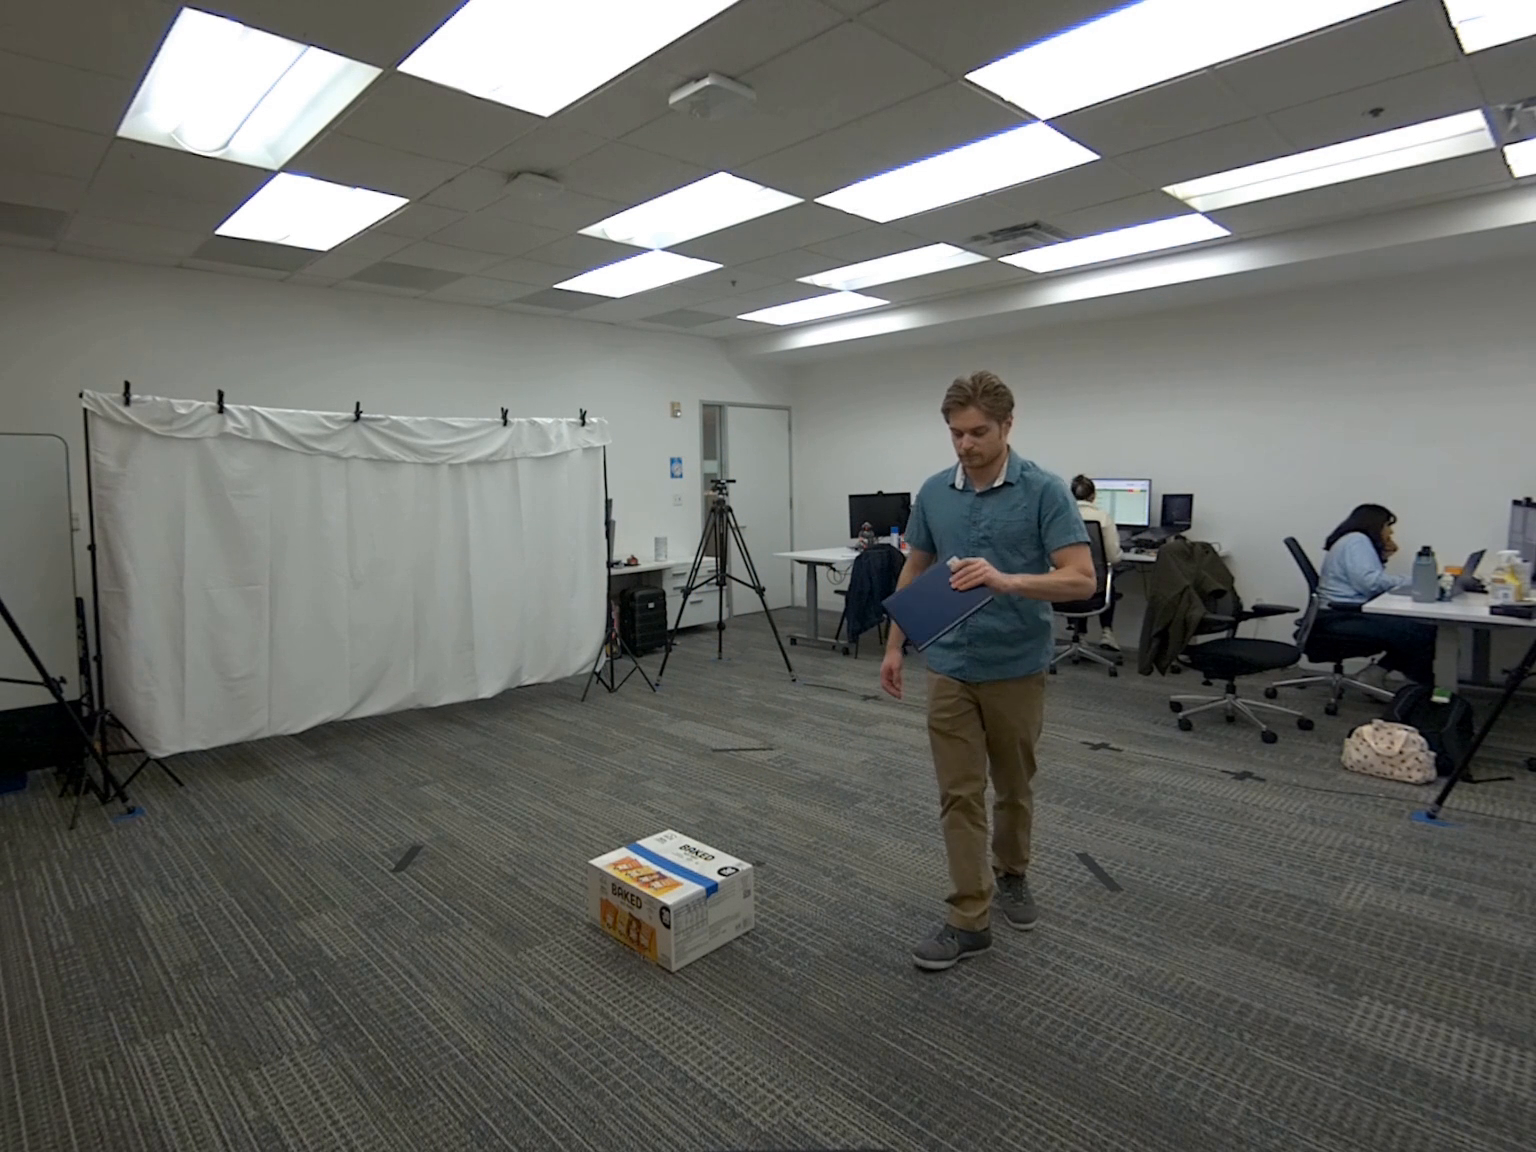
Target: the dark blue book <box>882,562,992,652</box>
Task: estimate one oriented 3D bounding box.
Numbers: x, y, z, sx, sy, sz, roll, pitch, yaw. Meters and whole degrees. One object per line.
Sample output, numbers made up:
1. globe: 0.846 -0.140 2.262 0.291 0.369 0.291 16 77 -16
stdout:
1. dark blue book: 0.464 0.065 2.272 0.245 0.169 0.044 -39 -28 7
